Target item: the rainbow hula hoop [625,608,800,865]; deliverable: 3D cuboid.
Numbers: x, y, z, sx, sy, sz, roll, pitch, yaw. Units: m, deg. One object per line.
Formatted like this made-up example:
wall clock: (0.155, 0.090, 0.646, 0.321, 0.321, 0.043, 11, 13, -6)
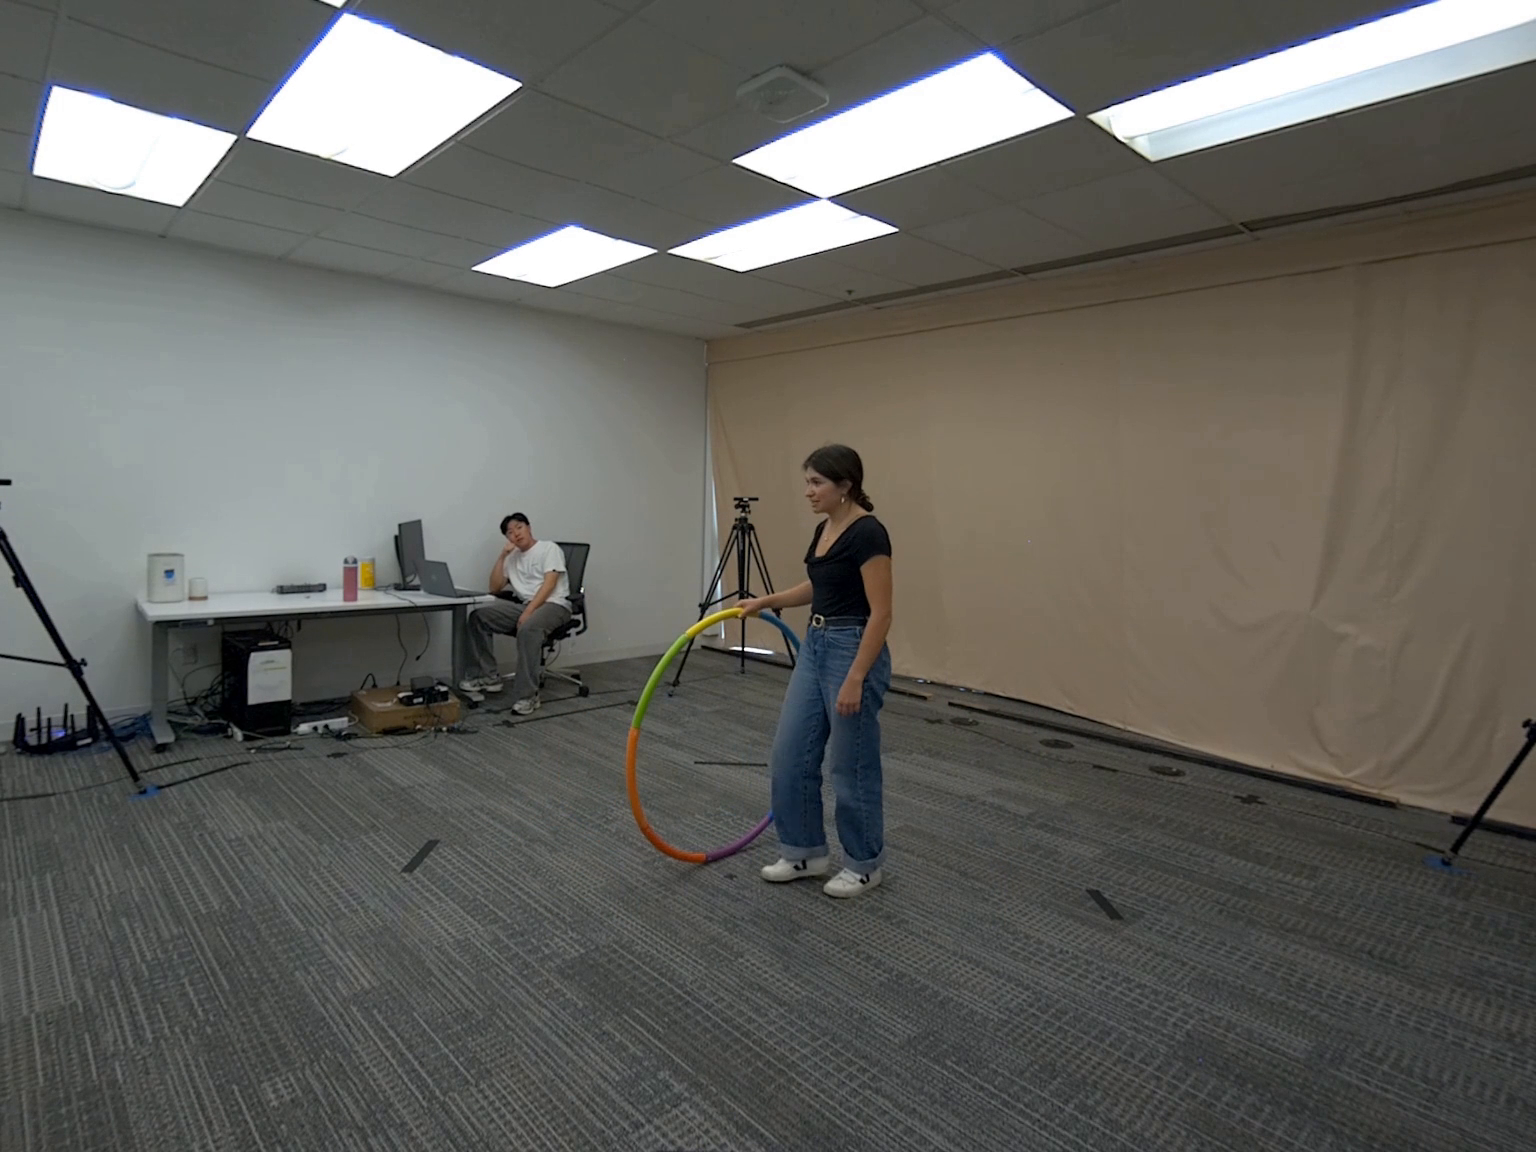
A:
rainbow hula hoop: (-0.158, 0.611, 3.226, 0.036, 0.975, 0.956, 7, 7, 43)
